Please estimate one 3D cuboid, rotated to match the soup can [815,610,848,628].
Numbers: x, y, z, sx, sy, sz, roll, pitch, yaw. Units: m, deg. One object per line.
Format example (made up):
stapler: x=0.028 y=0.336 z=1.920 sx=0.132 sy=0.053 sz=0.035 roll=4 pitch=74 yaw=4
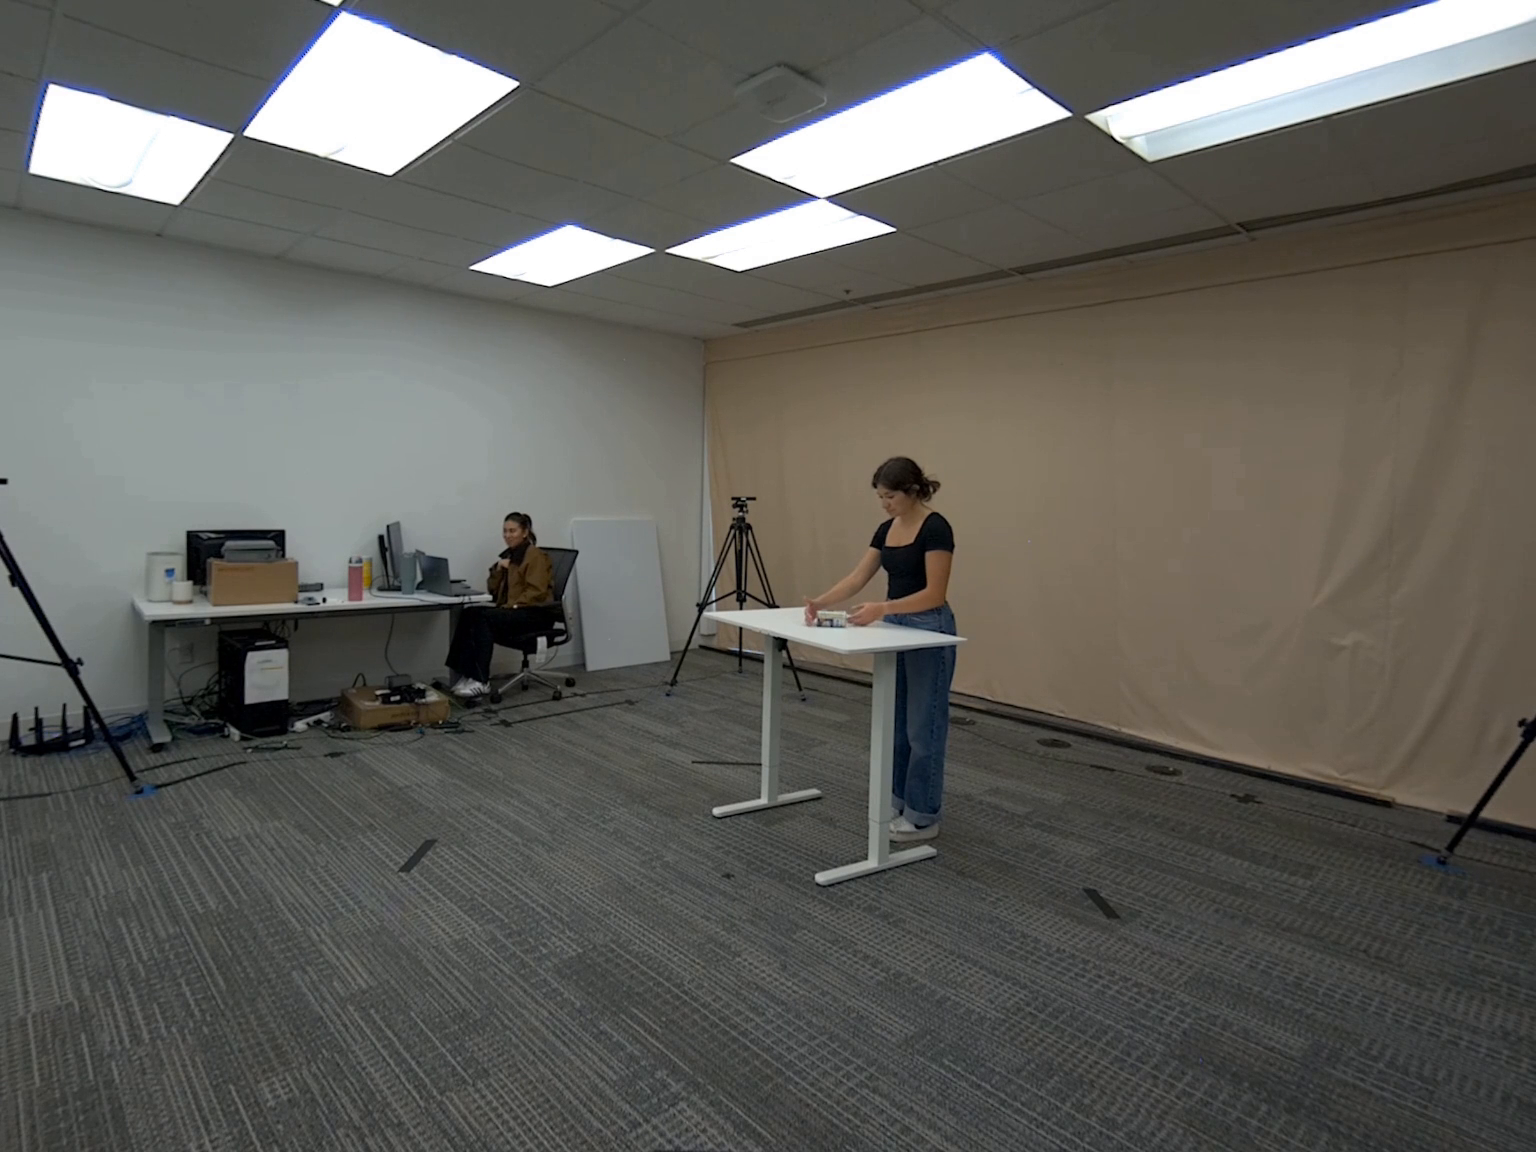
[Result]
soup can: x=0.250 y=0.176 z=3.427 sx=0.122 sy=0.067 sz=0.067 roll=3 pitch=4 yaw=4
